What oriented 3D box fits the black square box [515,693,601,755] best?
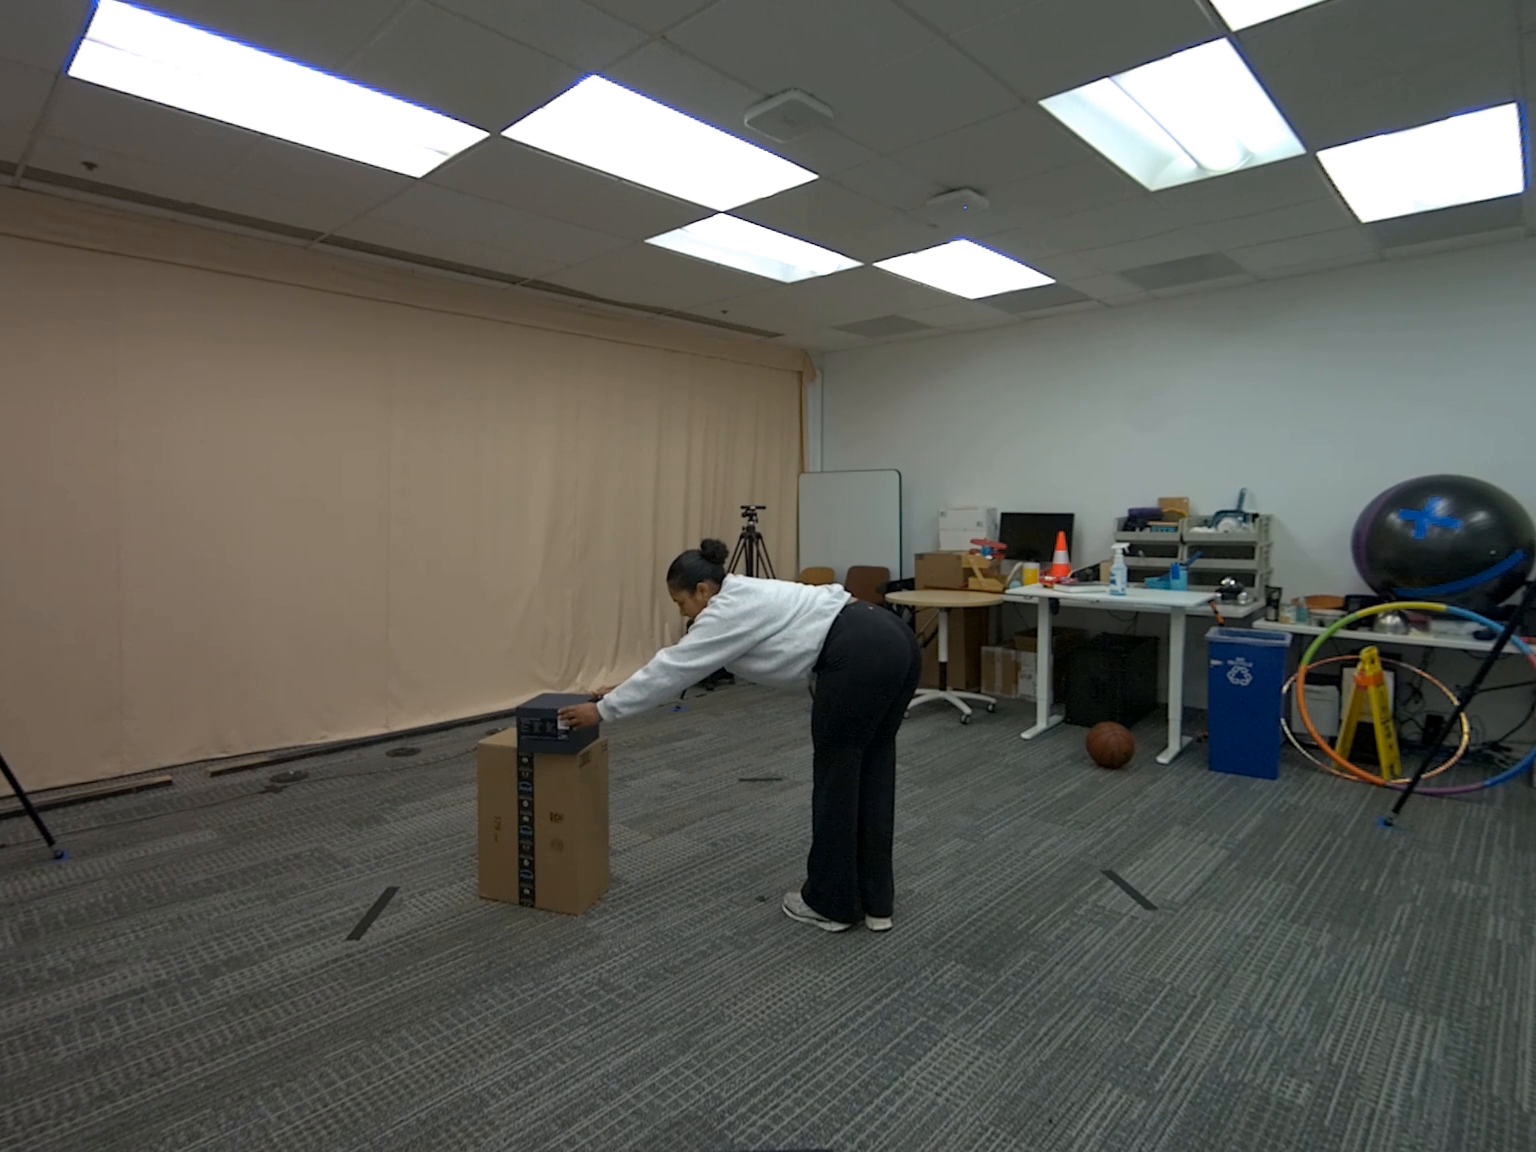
[{"bbox_3d":[-0.729,0.508,2.940,0.220,0.155,0.225,-1,4,12],"label":"black square box"}]
